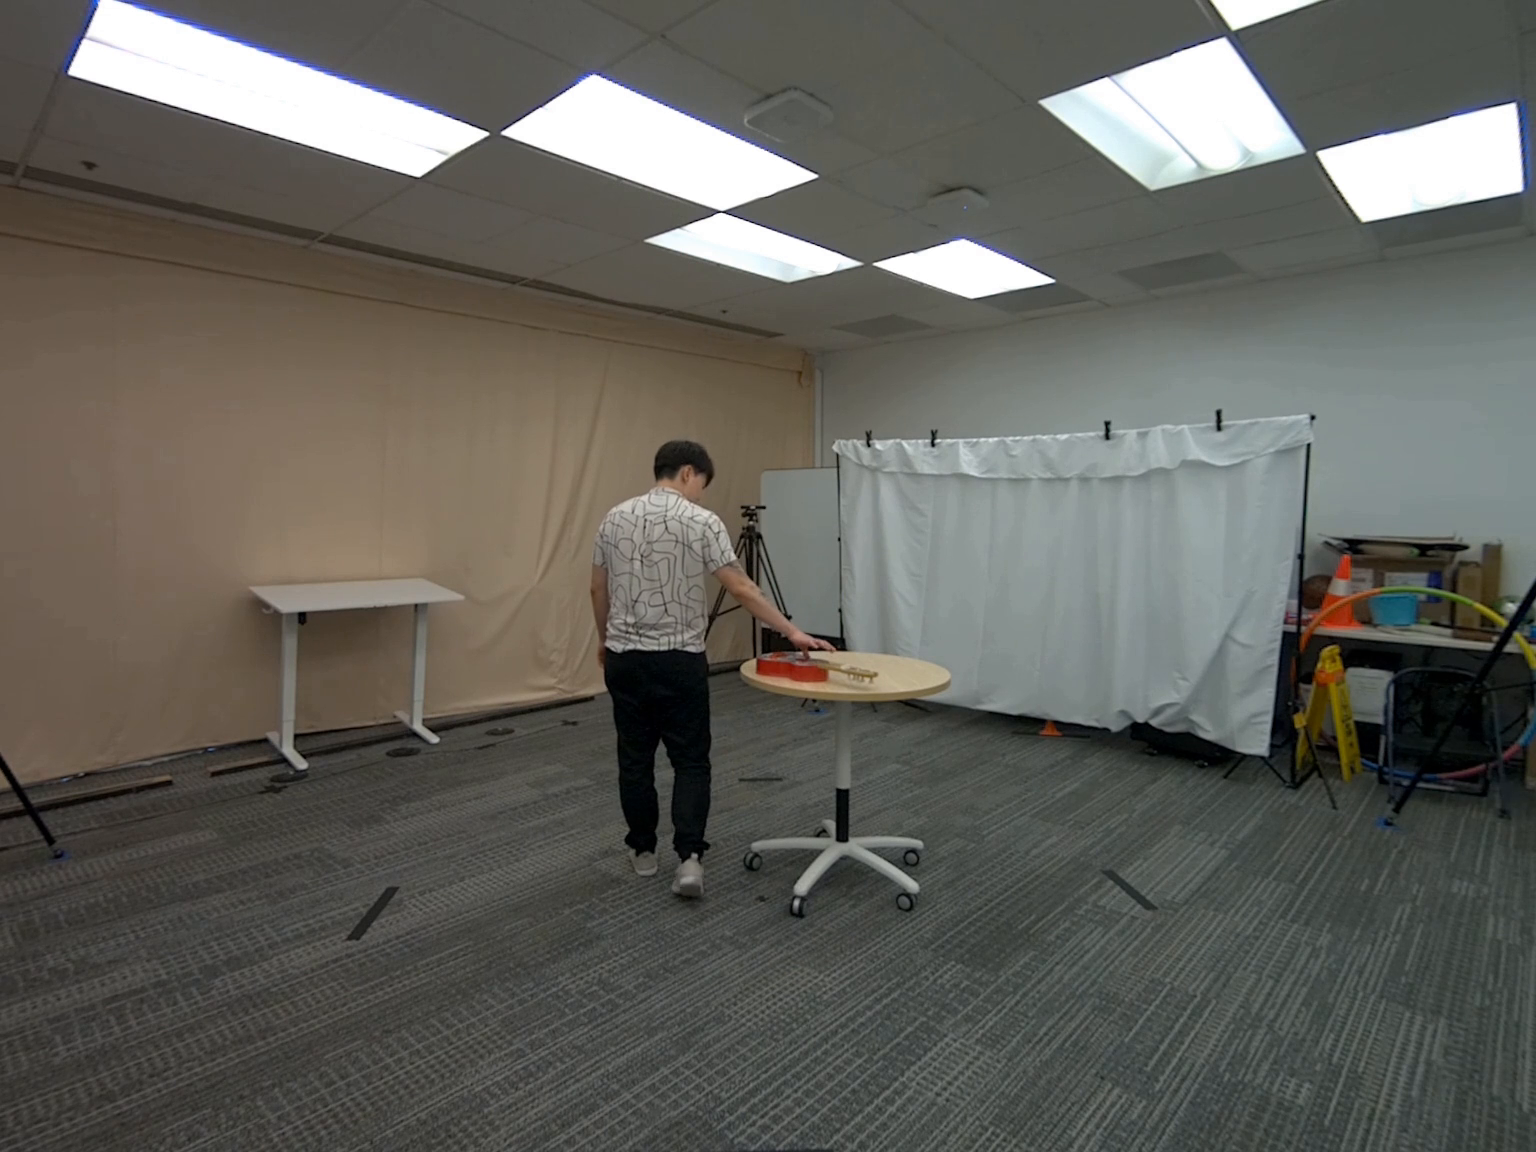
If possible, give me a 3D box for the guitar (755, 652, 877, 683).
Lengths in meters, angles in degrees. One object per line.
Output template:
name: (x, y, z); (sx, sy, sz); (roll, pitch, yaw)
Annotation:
guitar: (0.154, 0.334, 2.919); (0.187, 0.070, 0.513); (-4, 7, -34)
